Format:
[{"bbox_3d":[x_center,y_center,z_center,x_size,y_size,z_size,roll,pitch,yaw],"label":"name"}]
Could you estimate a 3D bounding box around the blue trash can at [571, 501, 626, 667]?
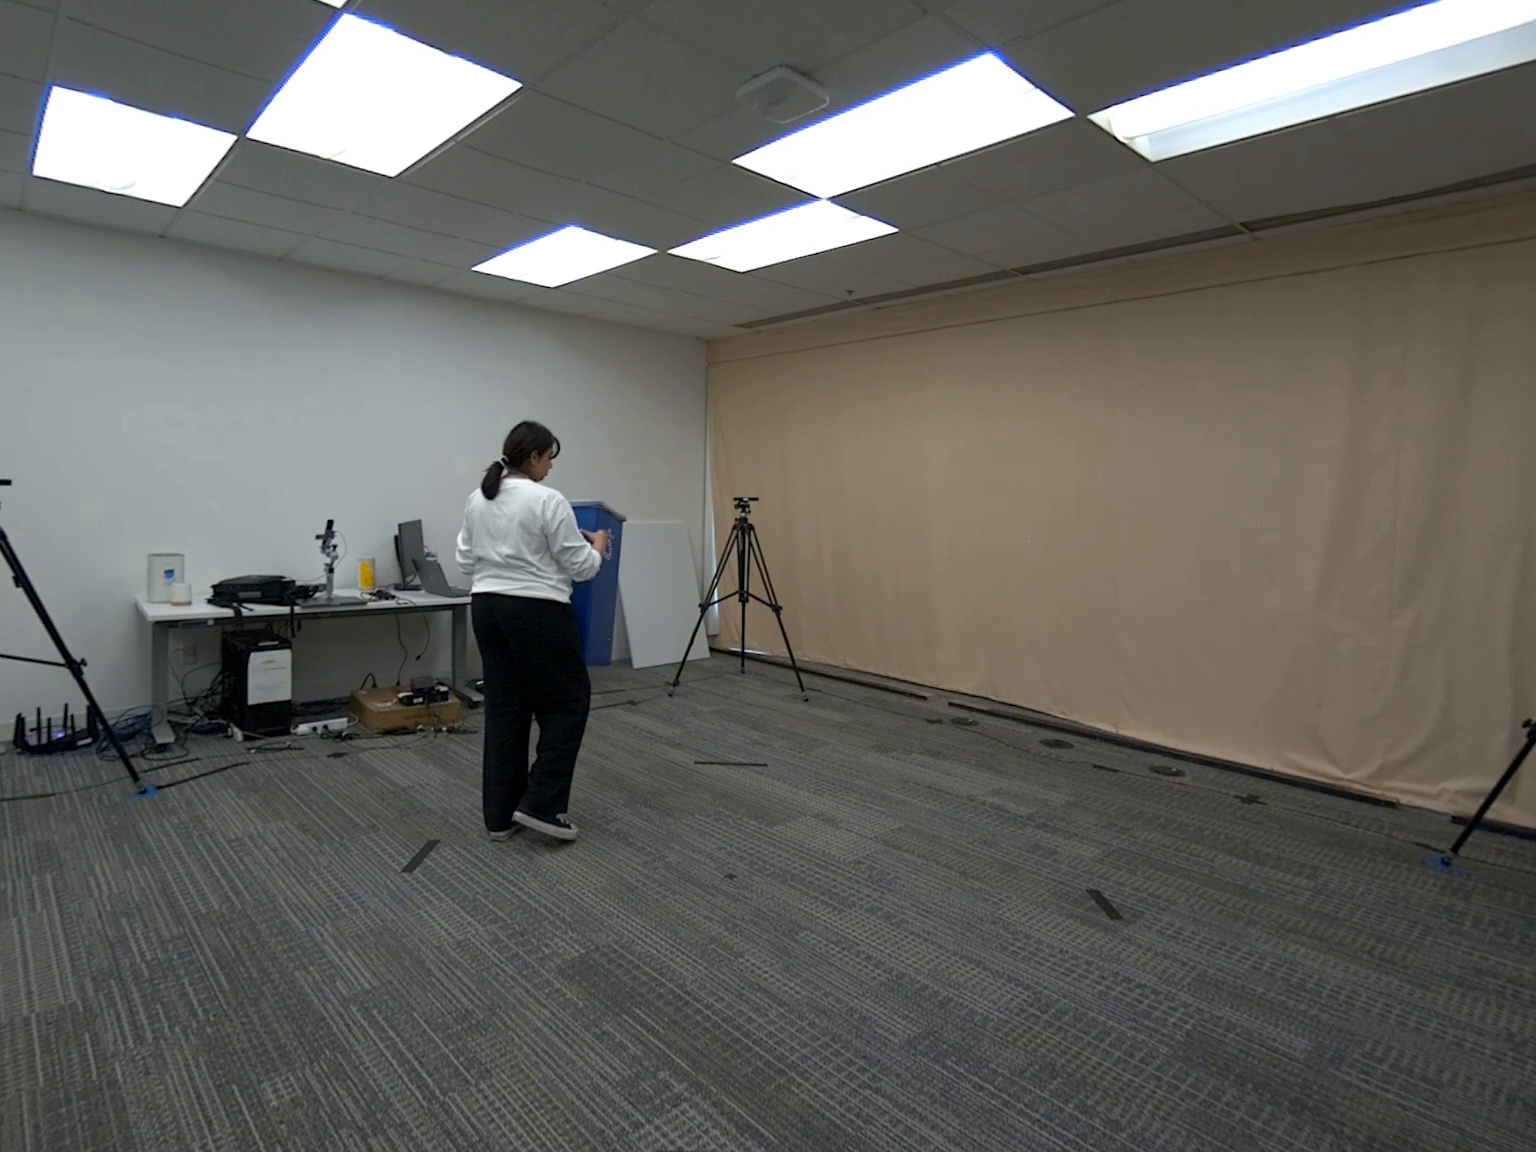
[{"bbox_3d":[-0.906,0.042,3.859,0.382,0.718,0.367,1,-10,13],"label":"blue trash can"}]
